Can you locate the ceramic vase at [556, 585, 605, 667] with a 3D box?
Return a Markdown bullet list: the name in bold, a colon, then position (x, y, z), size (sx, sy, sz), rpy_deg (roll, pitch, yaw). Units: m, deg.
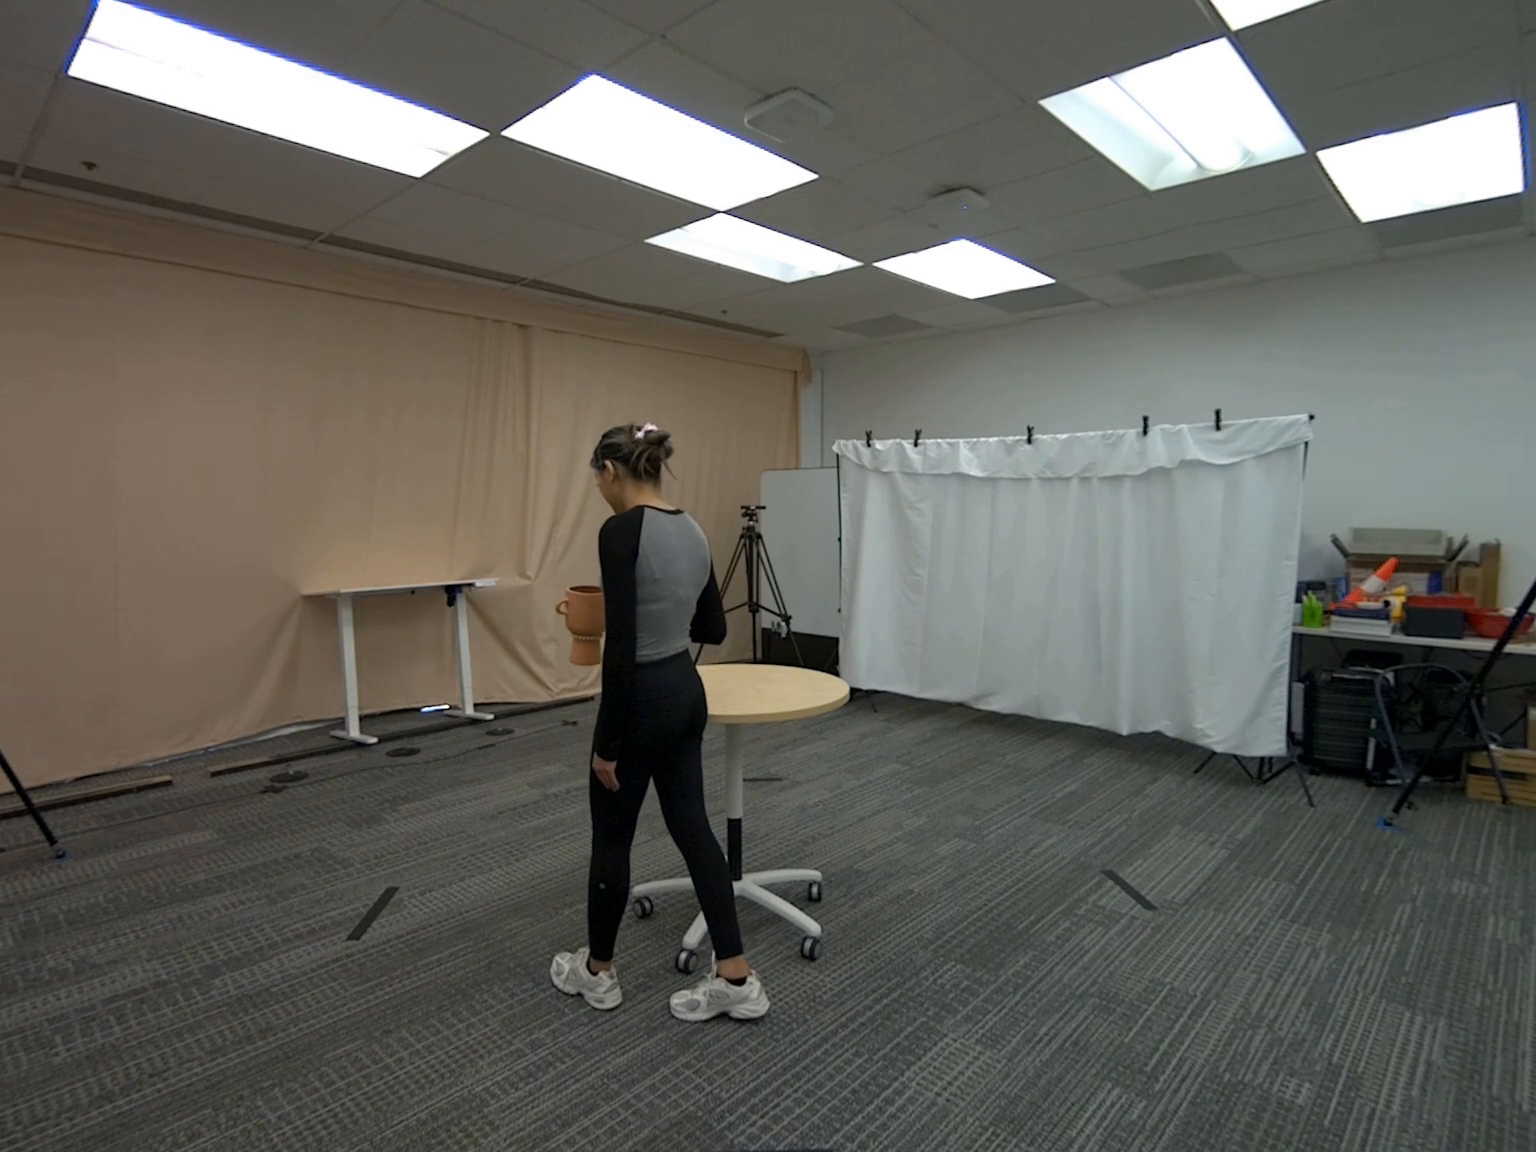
- **ceramic vase**: position (-0.535, 0.151, 2.494), size (0.161, 0.218, 0.134), rpy_deg (5, 9, 9)
